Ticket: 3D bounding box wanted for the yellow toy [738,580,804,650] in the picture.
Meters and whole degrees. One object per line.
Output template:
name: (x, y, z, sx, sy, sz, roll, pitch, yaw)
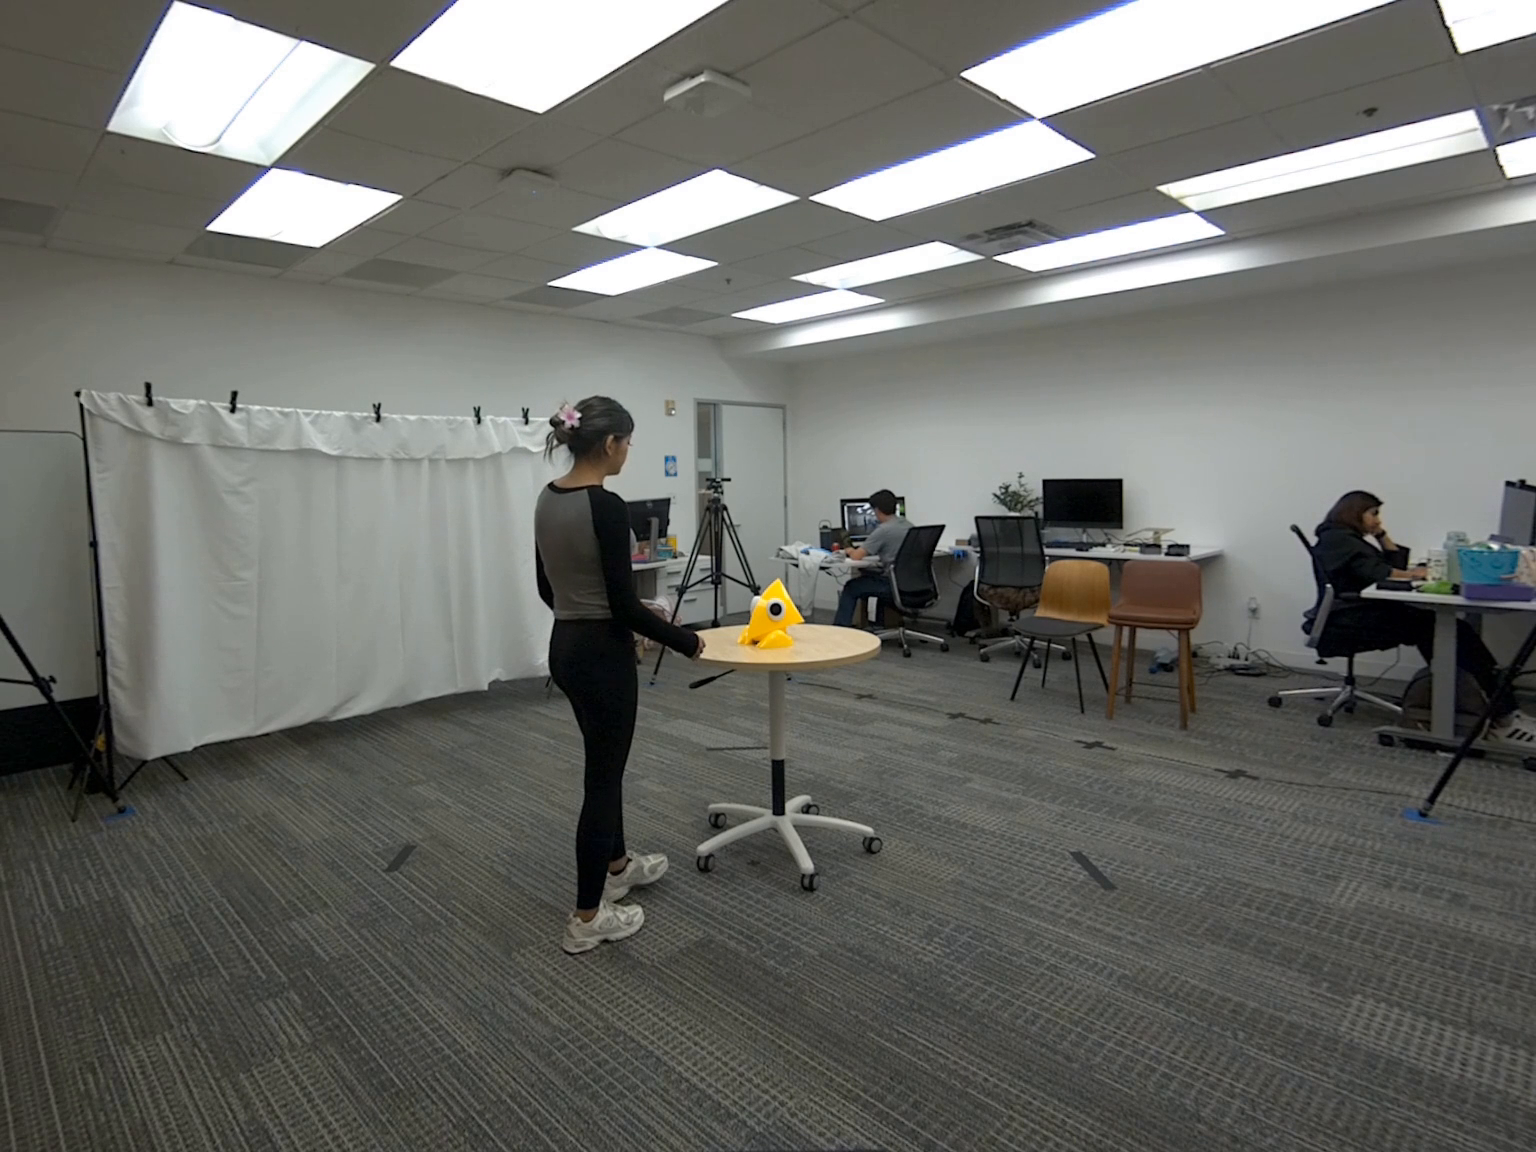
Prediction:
yellow toy: (-0.004, 0.132, 3.123, 0.188, 0.230, 0.211, -6, 6, -39)
